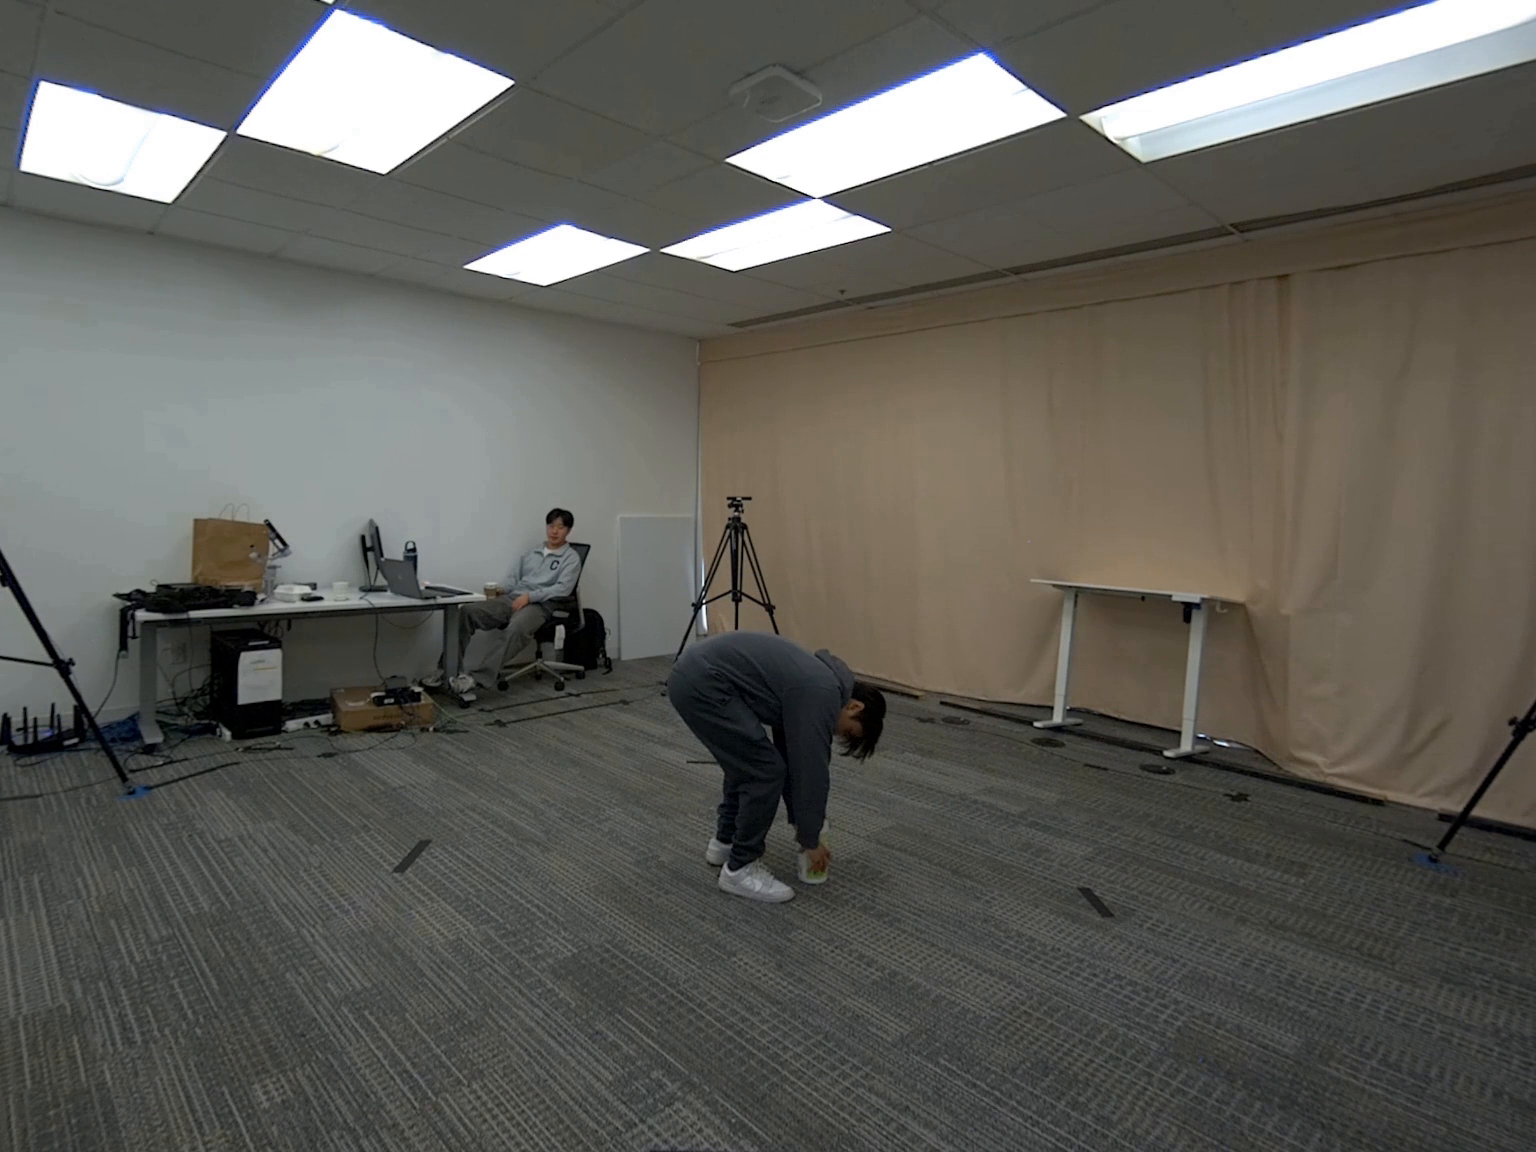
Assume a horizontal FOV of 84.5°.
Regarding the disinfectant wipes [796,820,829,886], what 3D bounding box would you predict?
[{"bbox_3d":[0.161,1.010,3.089,0.118,0.217,0.118,3,4,-2],"label":"disinfectant wipes"}]
